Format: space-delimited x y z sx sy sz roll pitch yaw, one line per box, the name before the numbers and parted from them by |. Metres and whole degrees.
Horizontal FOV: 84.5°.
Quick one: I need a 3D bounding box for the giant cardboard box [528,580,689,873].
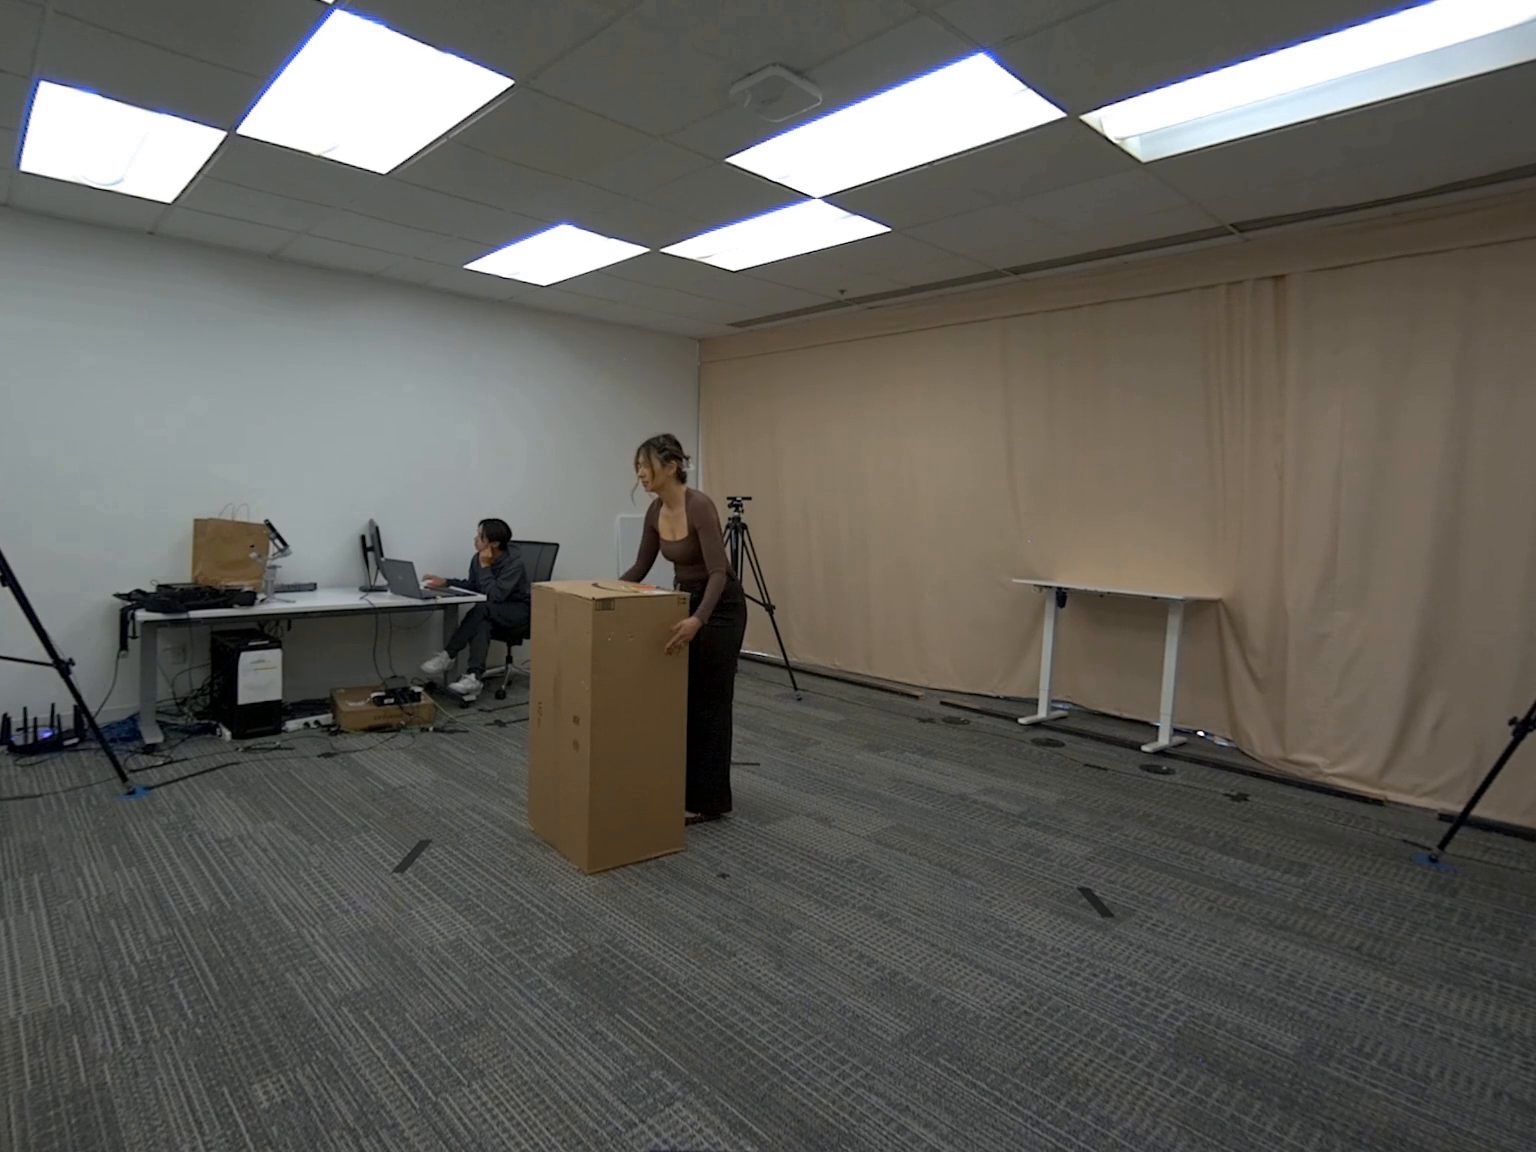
giant cardboard box | -0.664 0.559 3.400 0.437 1.025 0.598 0 3 -36
